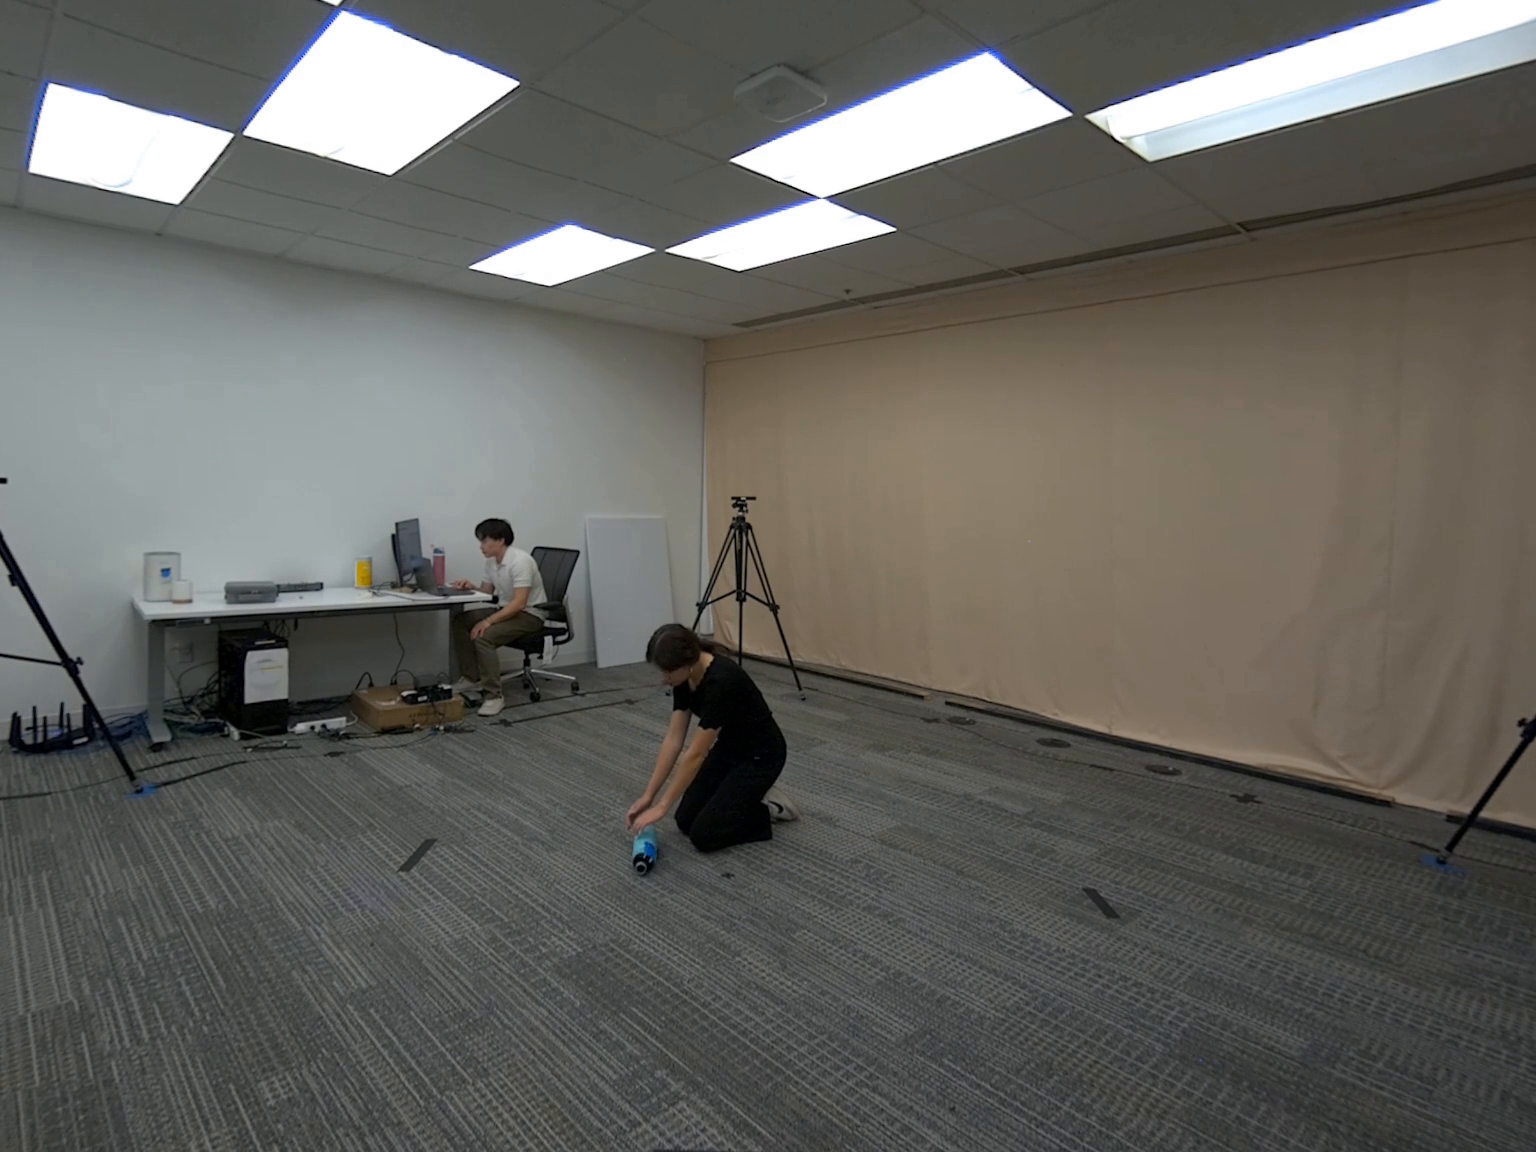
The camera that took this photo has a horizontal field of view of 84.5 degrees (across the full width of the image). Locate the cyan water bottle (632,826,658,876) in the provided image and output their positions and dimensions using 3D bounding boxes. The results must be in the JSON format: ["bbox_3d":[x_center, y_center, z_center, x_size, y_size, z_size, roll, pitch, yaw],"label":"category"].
[{"bbox_3d":[-0.479,1.040,3.213,0.092,0.092,0.285,1,4,-5],"label":"cyan water bottle"}]
